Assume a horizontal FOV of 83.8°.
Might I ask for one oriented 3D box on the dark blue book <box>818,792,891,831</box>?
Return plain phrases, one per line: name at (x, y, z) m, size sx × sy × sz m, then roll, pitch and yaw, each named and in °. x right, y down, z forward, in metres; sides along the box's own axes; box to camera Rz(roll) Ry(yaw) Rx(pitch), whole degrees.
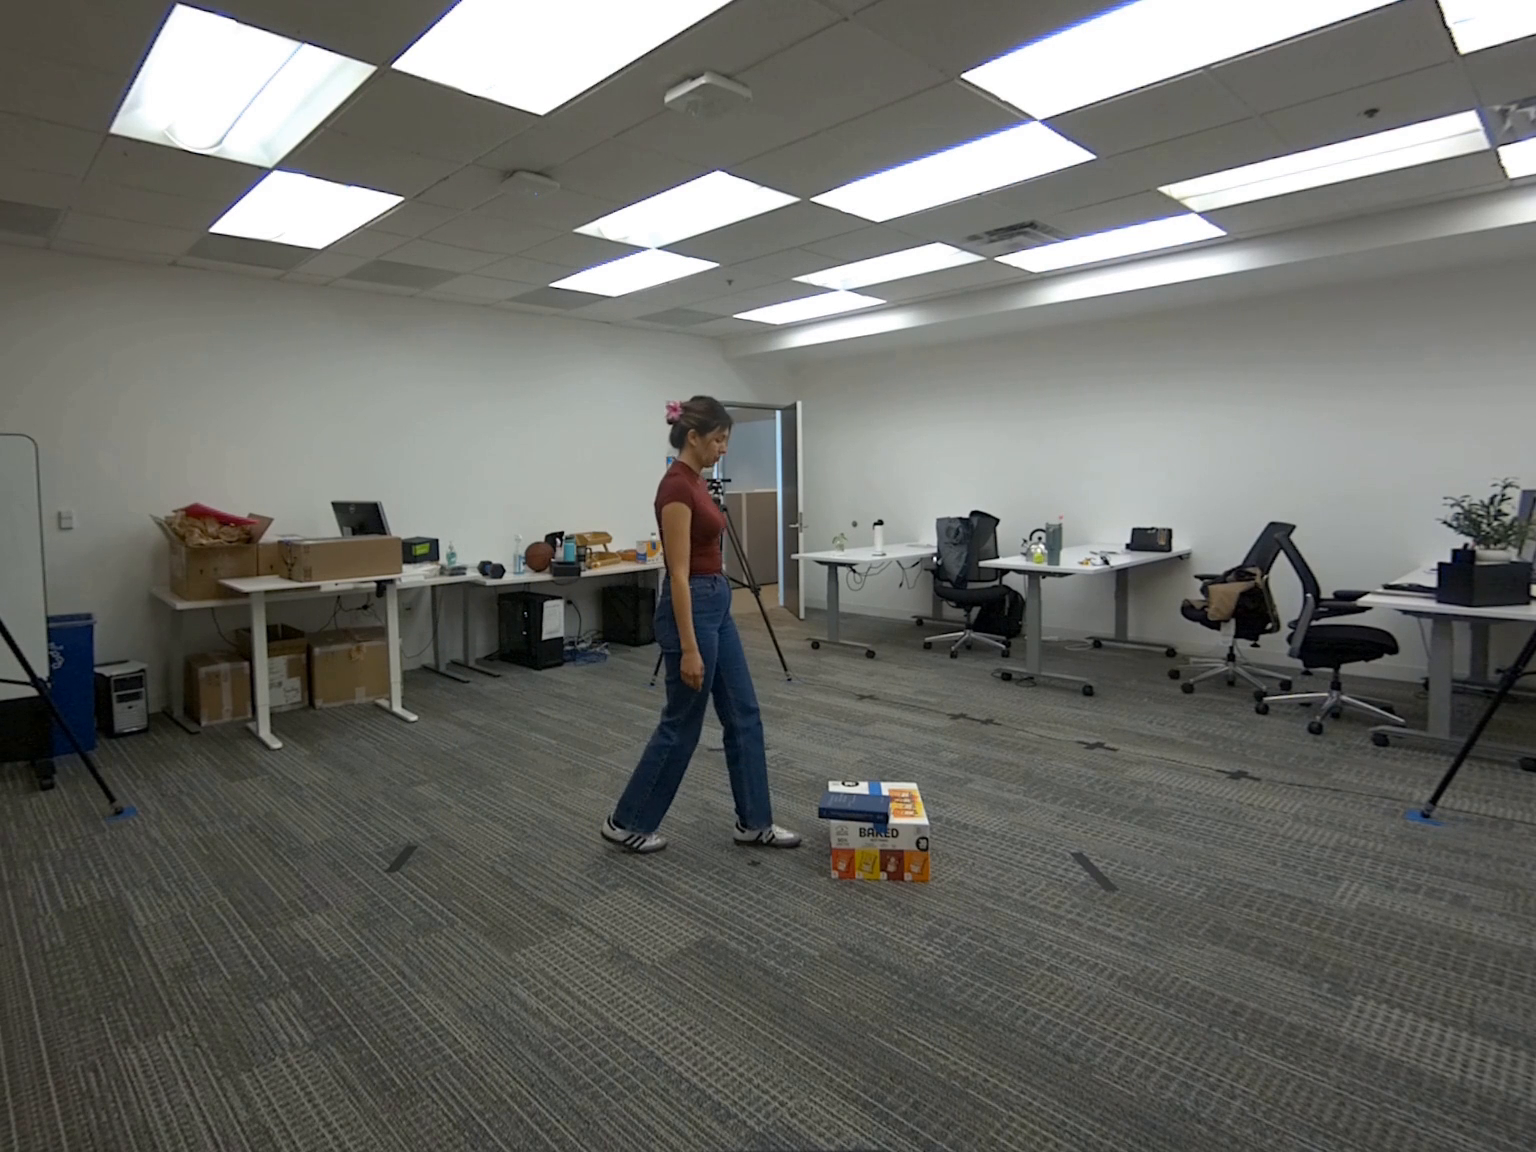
dark blue book at (0.306, 0.813, 3.036) m, size 0.248 × 0.045 × 0.162 m, roll 1°, pitch 5°, yaw 13°
